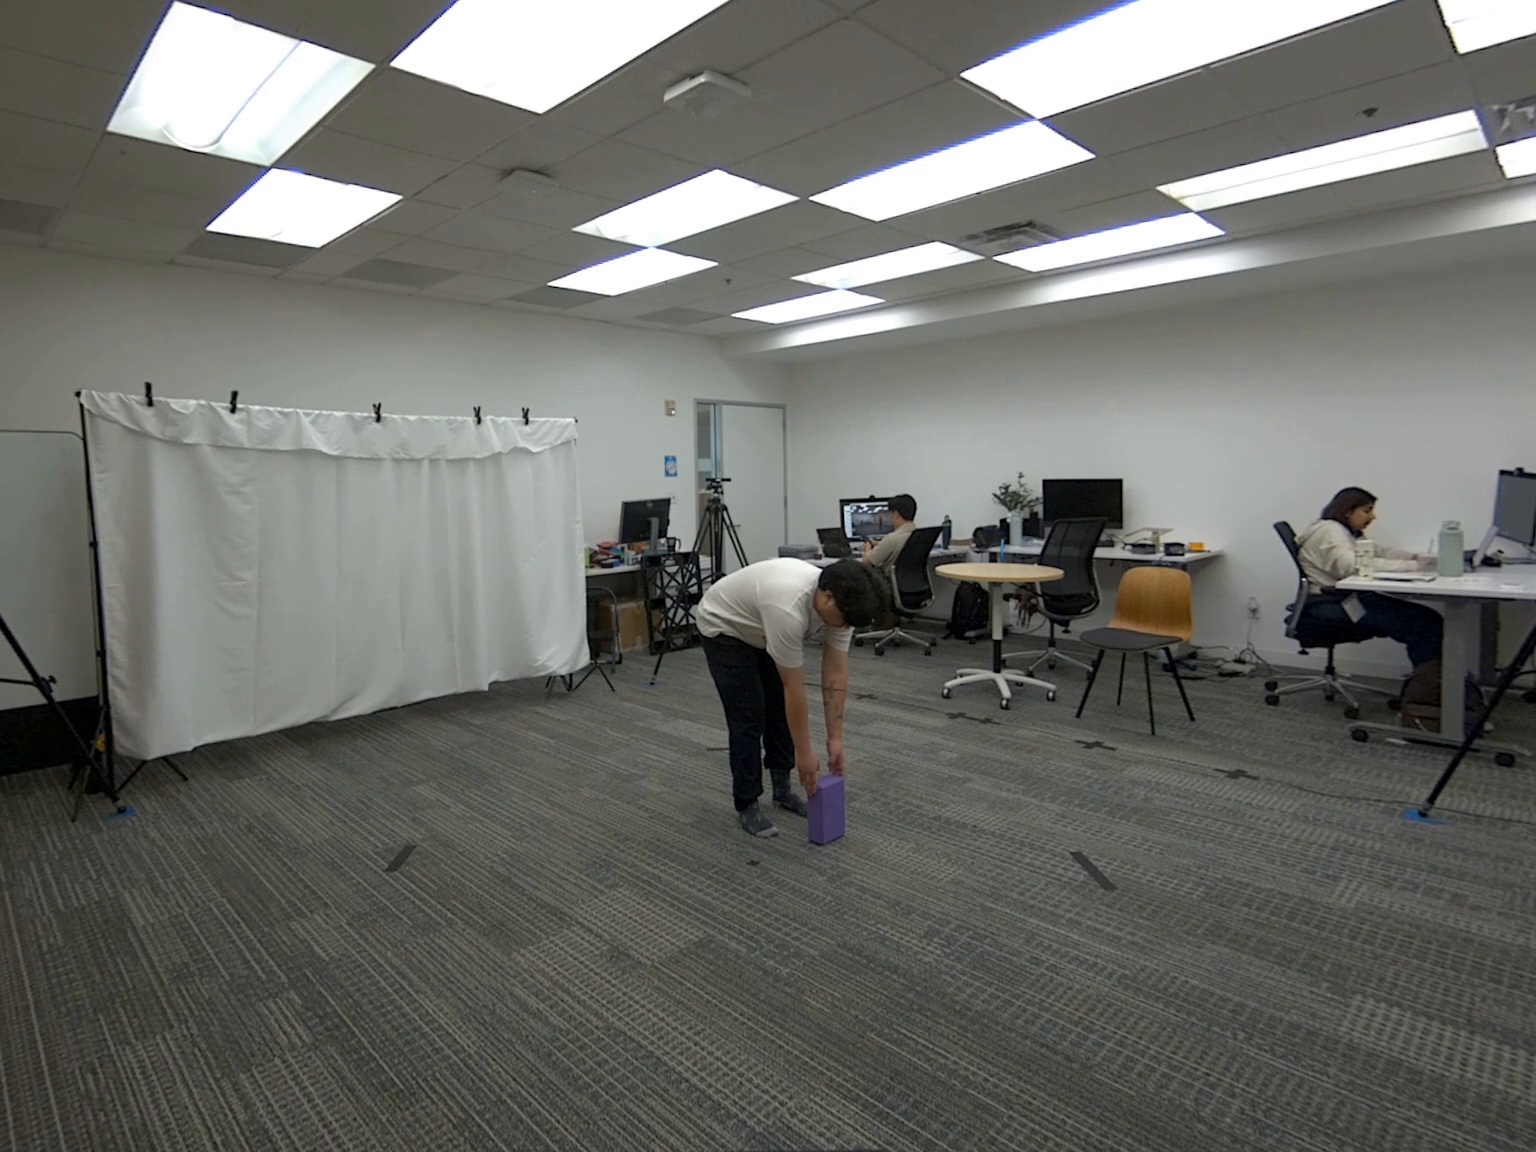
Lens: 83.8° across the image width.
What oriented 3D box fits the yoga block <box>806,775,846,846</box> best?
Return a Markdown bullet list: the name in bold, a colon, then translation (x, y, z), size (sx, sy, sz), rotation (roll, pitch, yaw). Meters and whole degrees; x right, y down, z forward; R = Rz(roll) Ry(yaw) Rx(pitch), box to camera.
- **yoga block**: translation (0.229, 0.905, 3.306), size (0.078, 0.229, 0.145), rotation (-1, 1, 44)
